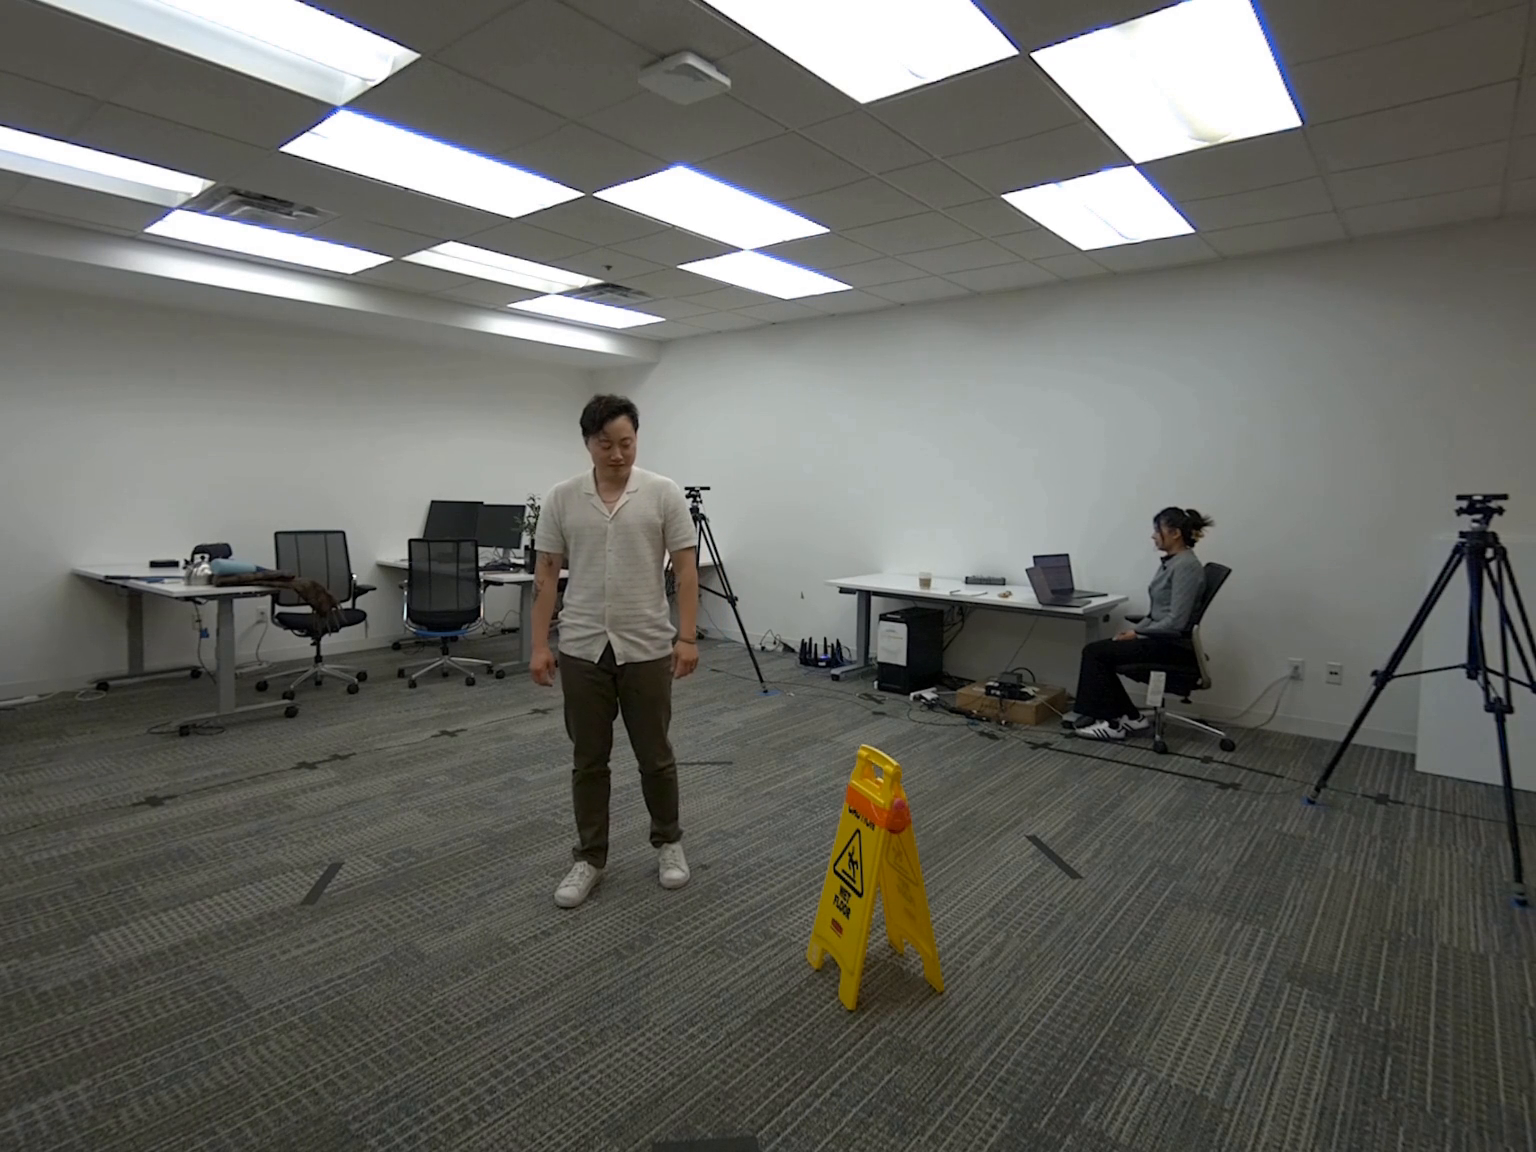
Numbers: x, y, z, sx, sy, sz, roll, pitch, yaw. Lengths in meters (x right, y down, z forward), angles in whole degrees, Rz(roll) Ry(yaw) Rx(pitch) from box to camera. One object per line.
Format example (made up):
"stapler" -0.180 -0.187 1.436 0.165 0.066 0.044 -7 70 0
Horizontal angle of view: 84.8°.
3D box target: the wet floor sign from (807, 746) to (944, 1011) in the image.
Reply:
"wet floor sign" 0.303 0.818 2.422 0.284 0.644 0.289 0 4 -22
